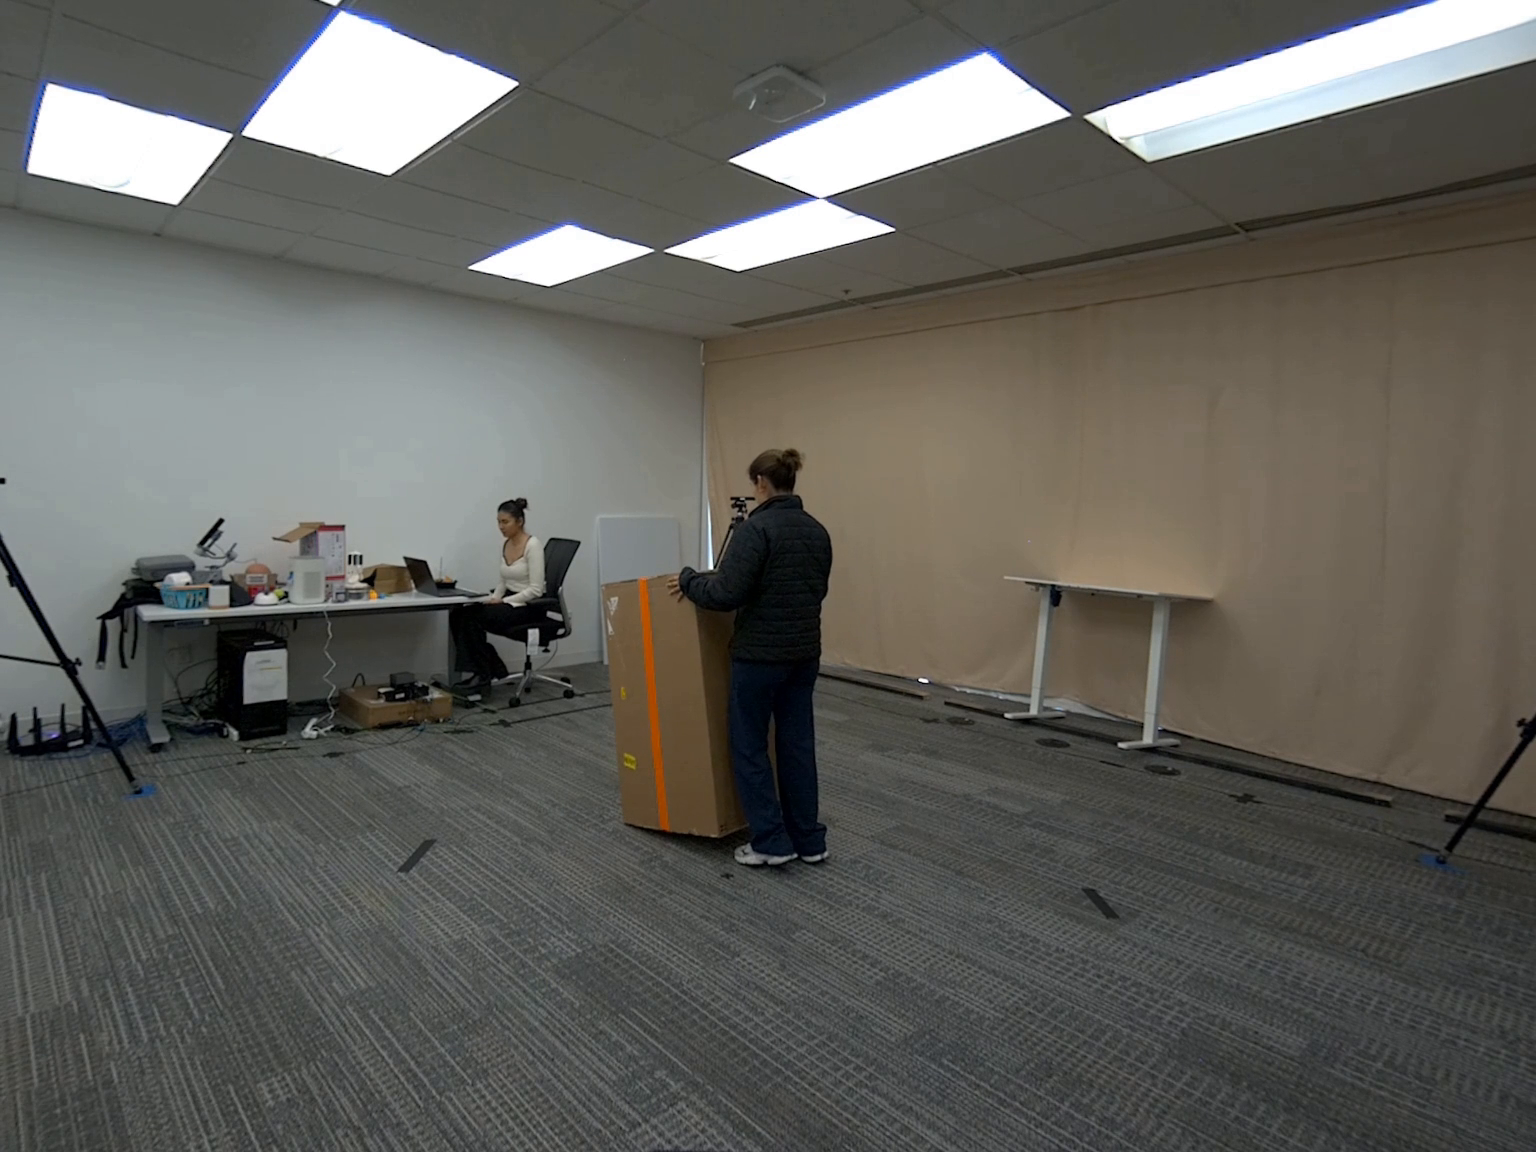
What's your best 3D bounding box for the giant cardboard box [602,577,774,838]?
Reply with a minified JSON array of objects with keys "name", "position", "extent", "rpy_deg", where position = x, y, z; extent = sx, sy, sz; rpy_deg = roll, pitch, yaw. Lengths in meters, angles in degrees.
[{"name":"giant cardboard box","position":[-0.334,0.511,3.563],"extent":[0.589,1.029,0.416],"rpy_deg":[-10,-5,42]}]
